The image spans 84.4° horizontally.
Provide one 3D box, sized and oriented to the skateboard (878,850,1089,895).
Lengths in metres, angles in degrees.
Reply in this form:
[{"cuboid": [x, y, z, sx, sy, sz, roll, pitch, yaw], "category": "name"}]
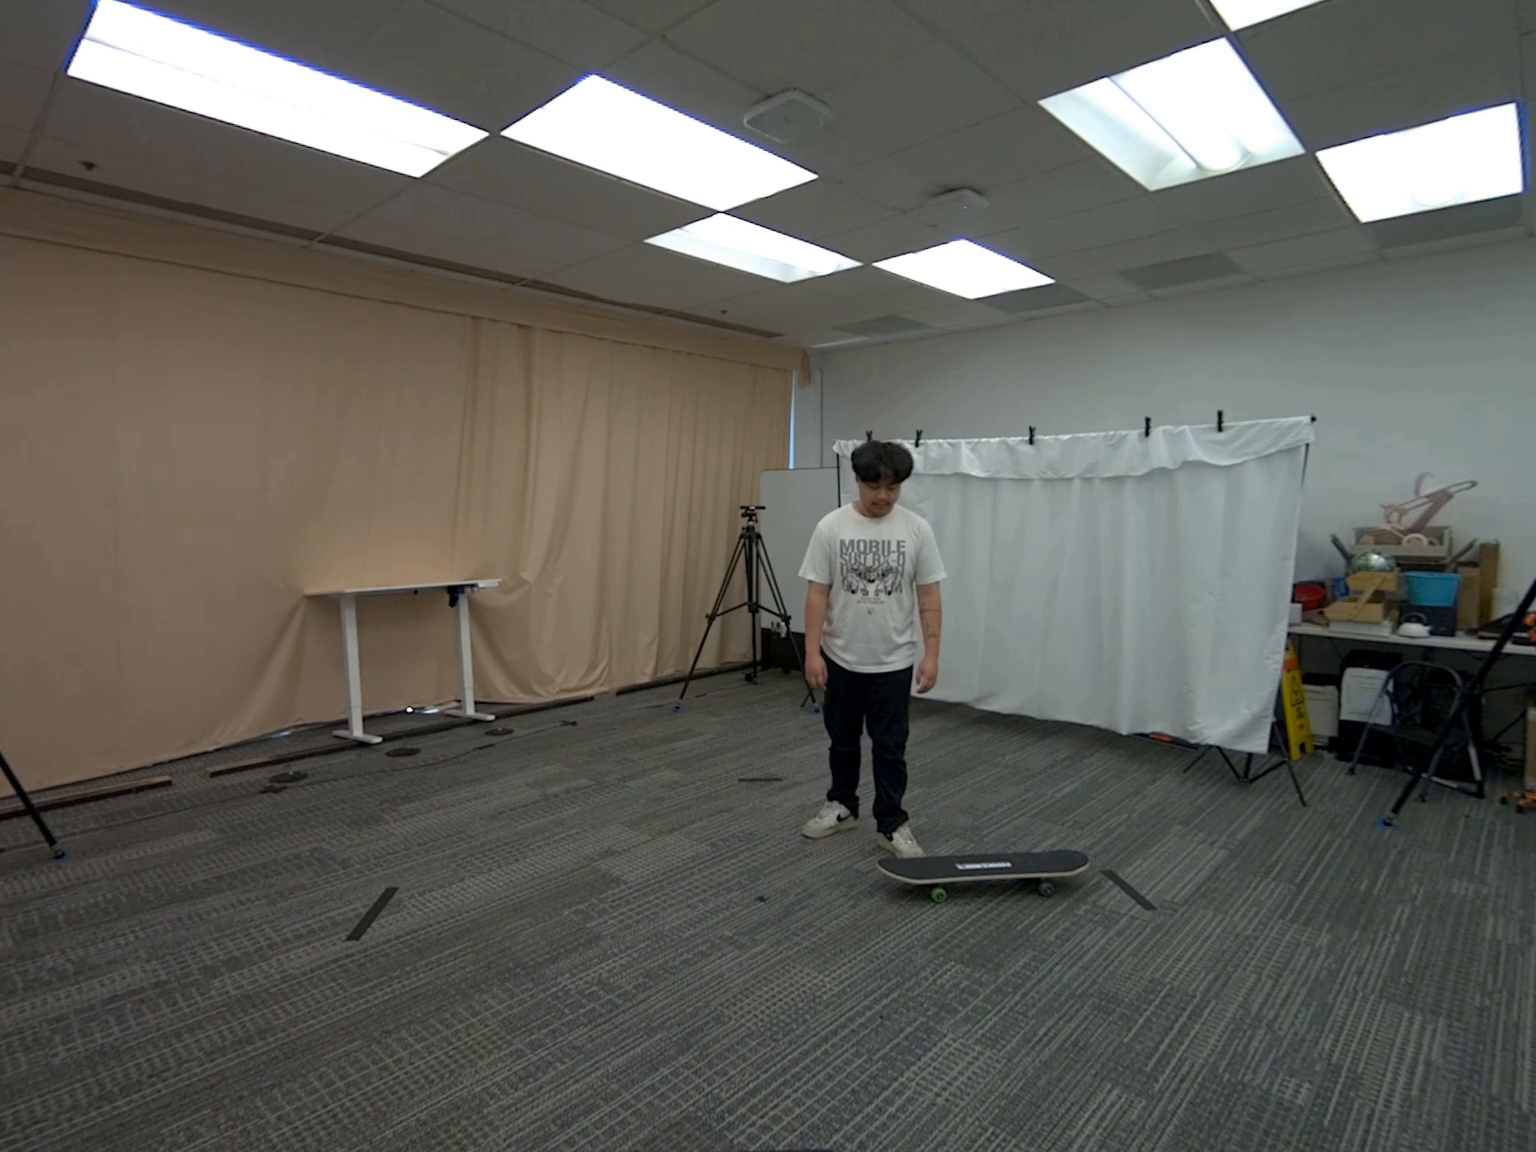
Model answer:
[{"cuboid": [0.784, 1.080, 3.047, 0.779, 0.110, 0.195, 0, 4, -7], "category": "skateboard"}]
